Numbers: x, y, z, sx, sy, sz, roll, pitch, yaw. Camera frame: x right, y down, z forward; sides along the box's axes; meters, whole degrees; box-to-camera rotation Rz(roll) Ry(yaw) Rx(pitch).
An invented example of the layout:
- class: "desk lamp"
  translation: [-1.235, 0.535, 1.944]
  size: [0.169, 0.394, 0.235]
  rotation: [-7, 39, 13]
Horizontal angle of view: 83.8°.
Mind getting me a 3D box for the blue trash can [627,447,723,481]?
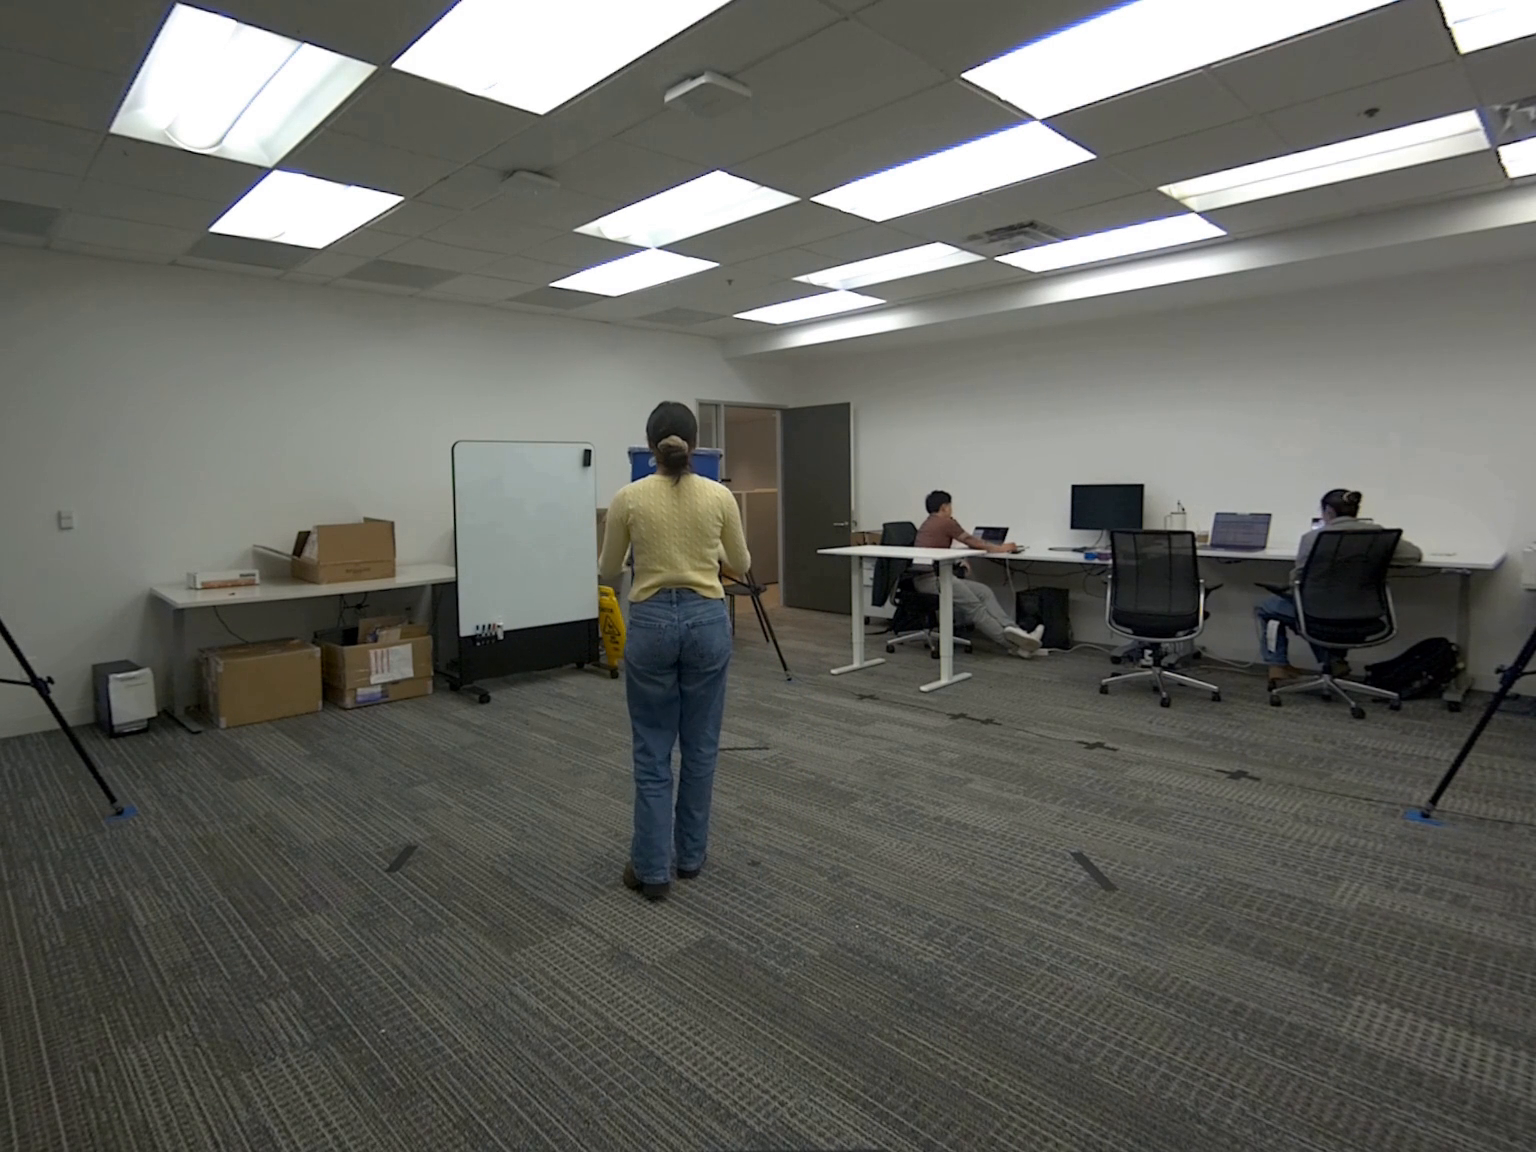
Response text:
- class: "blue trash can"
  translation: [-0.384, -0.139, 3.428]
  size: [0.376, 0.715, 0.375]
  rotation: [2, -2, -5]
